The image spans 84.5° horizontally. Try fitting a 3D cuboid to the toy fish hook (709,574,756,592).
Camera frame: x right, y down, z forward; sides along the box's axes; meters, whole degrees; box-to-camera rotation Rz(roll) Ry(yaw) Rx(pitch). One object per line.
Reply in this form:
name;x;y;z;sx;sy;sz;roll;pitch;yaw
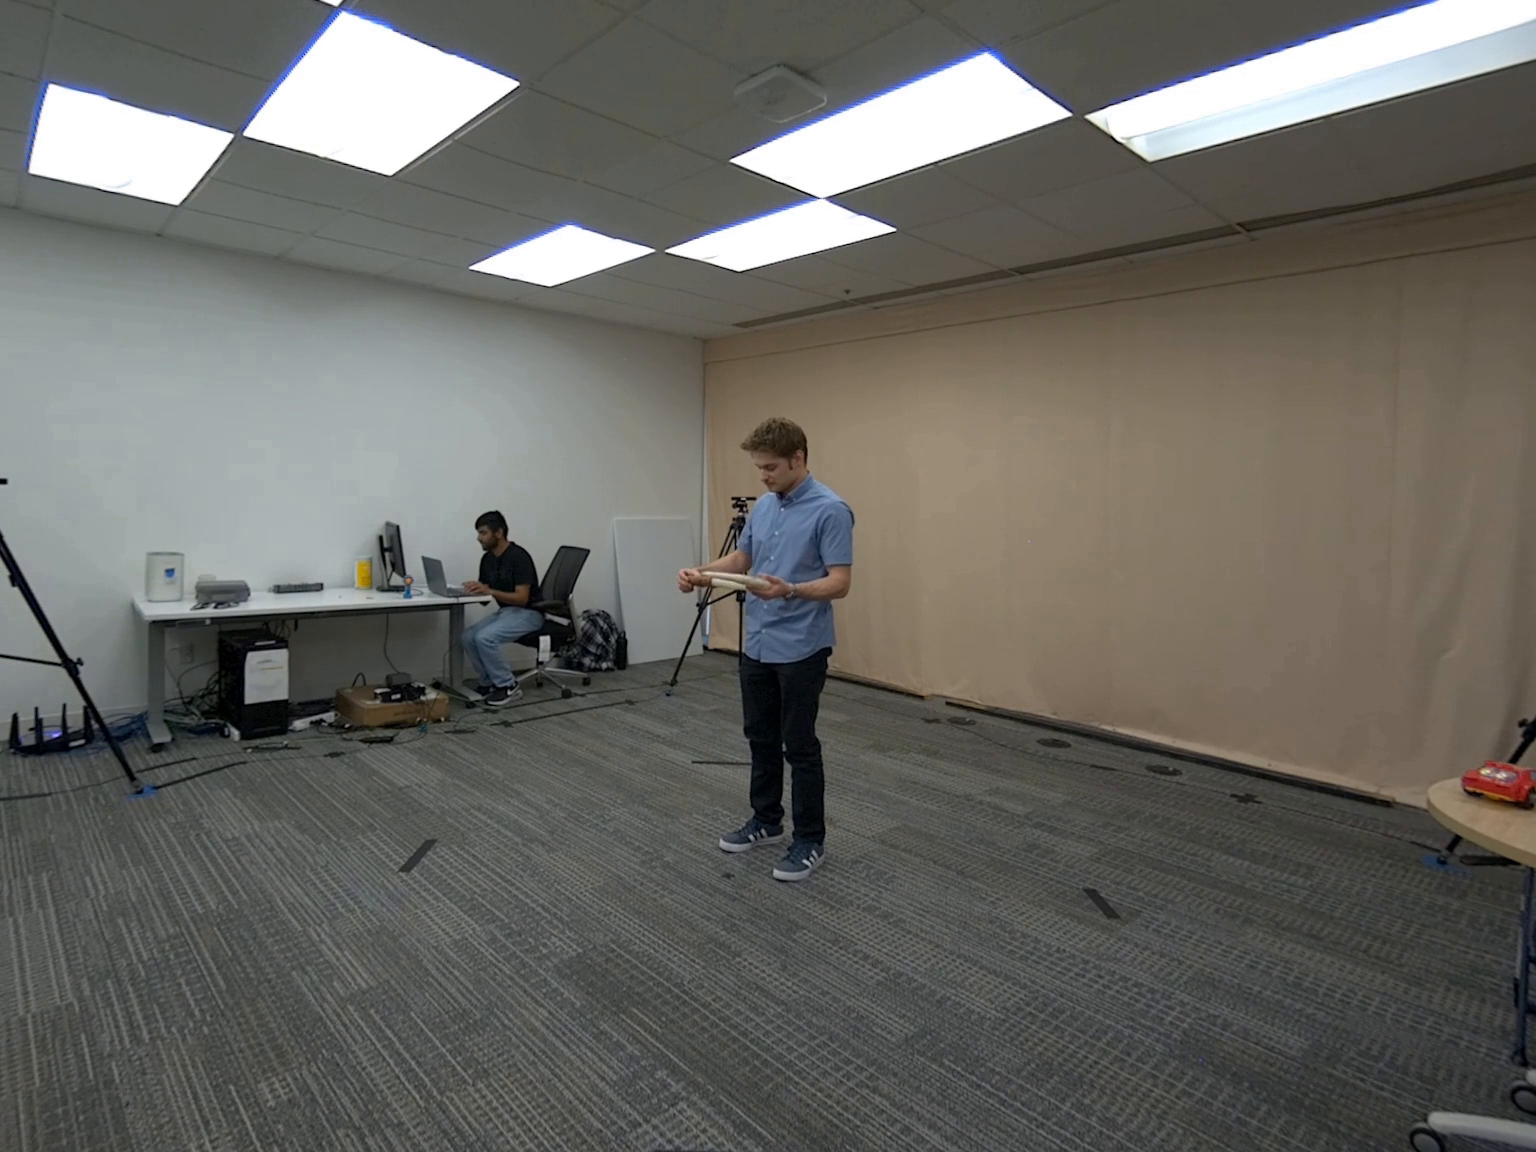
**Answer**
toy fish hook;-0.188;0.016;2.972;0.519;0.048;0.218;4;-13;44
